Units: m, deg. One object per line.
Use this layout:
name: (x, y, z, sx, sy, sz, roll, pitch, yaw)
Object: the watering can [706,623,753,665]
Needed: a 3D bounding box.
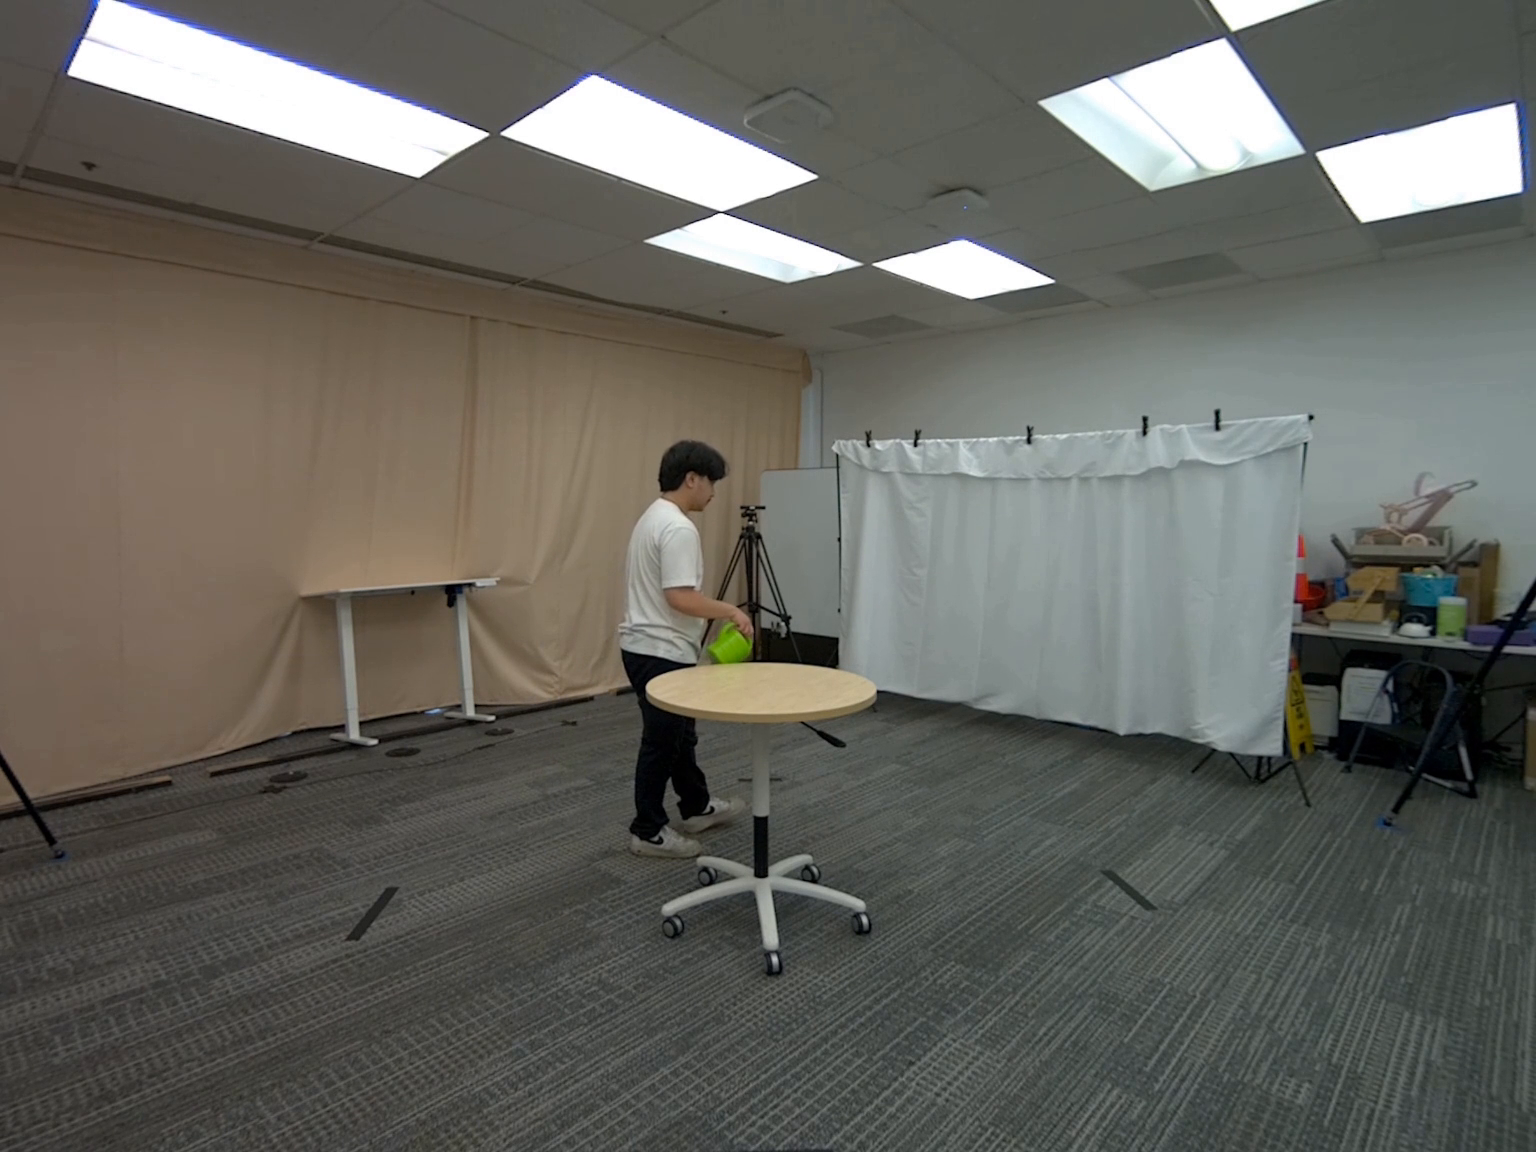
watering can: (-0.113, 0.315, 3.264, 0.175, 0.275, 0.100, -39, 9, -21)
